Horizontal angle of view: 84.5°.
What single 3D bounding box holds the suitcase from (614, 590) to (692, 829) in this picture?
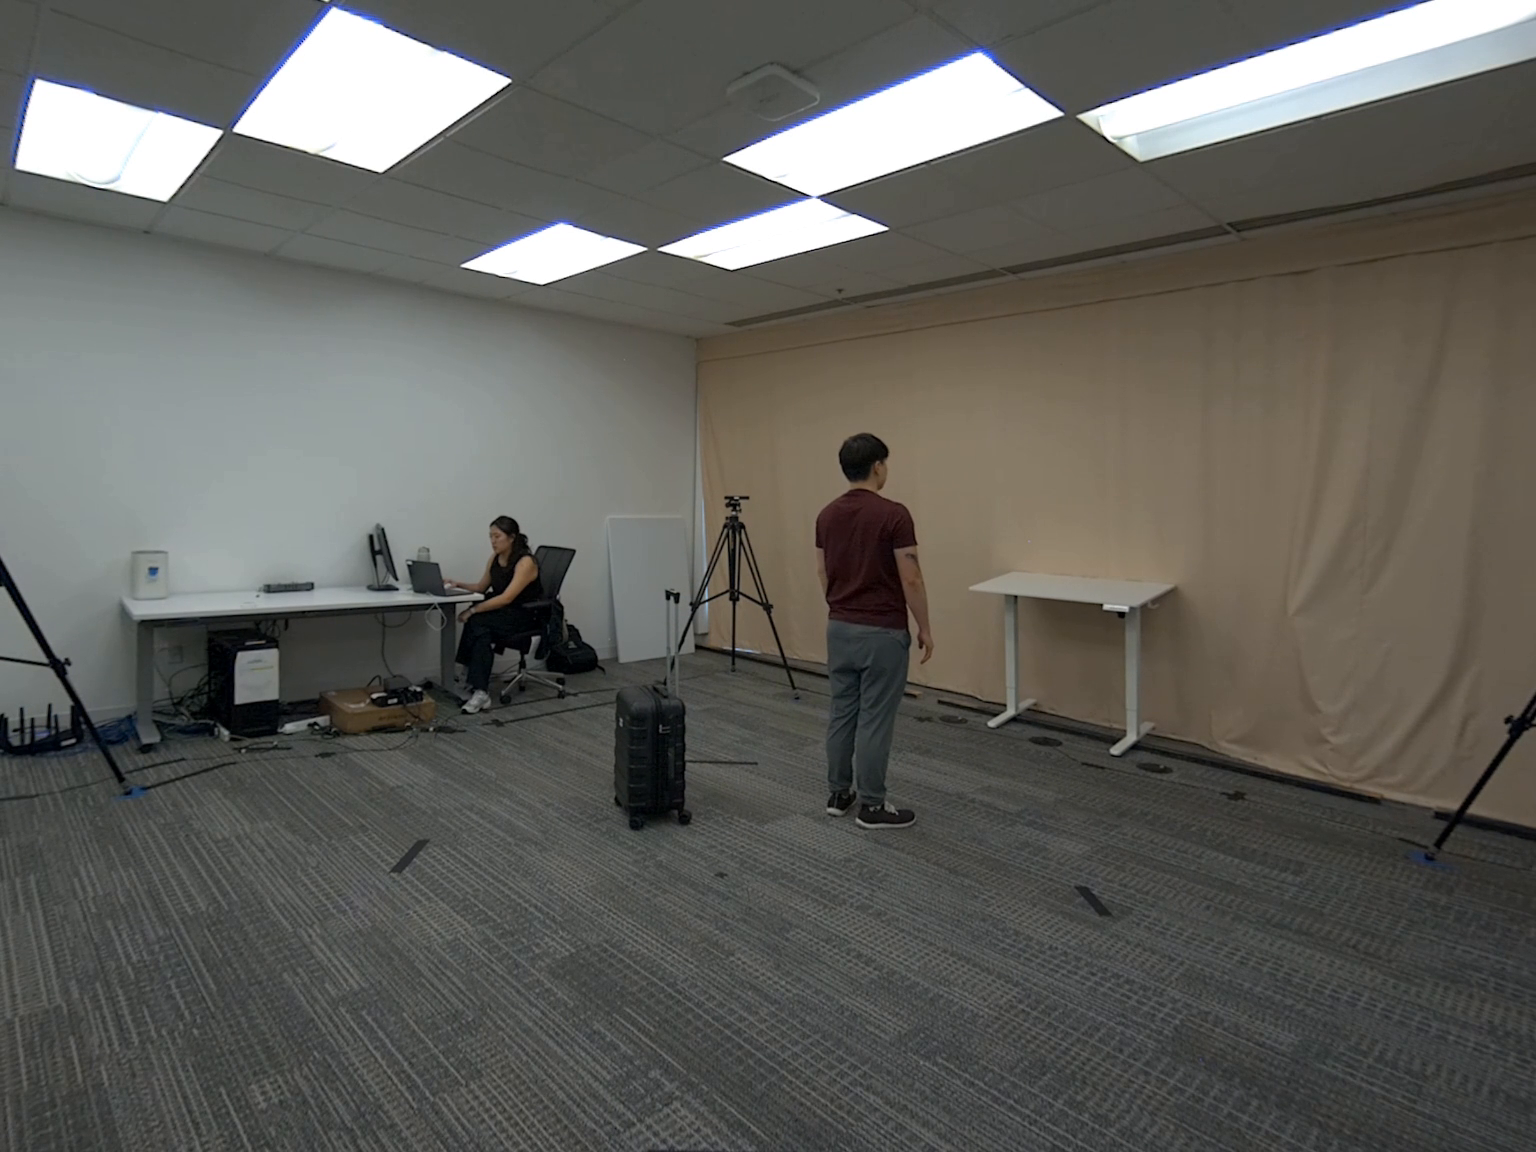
[{"bbox_3d":[-0.529,0.566,3.673,0.253,0.976,0.390,-2,3,-19],"label":"suitcase"}]
